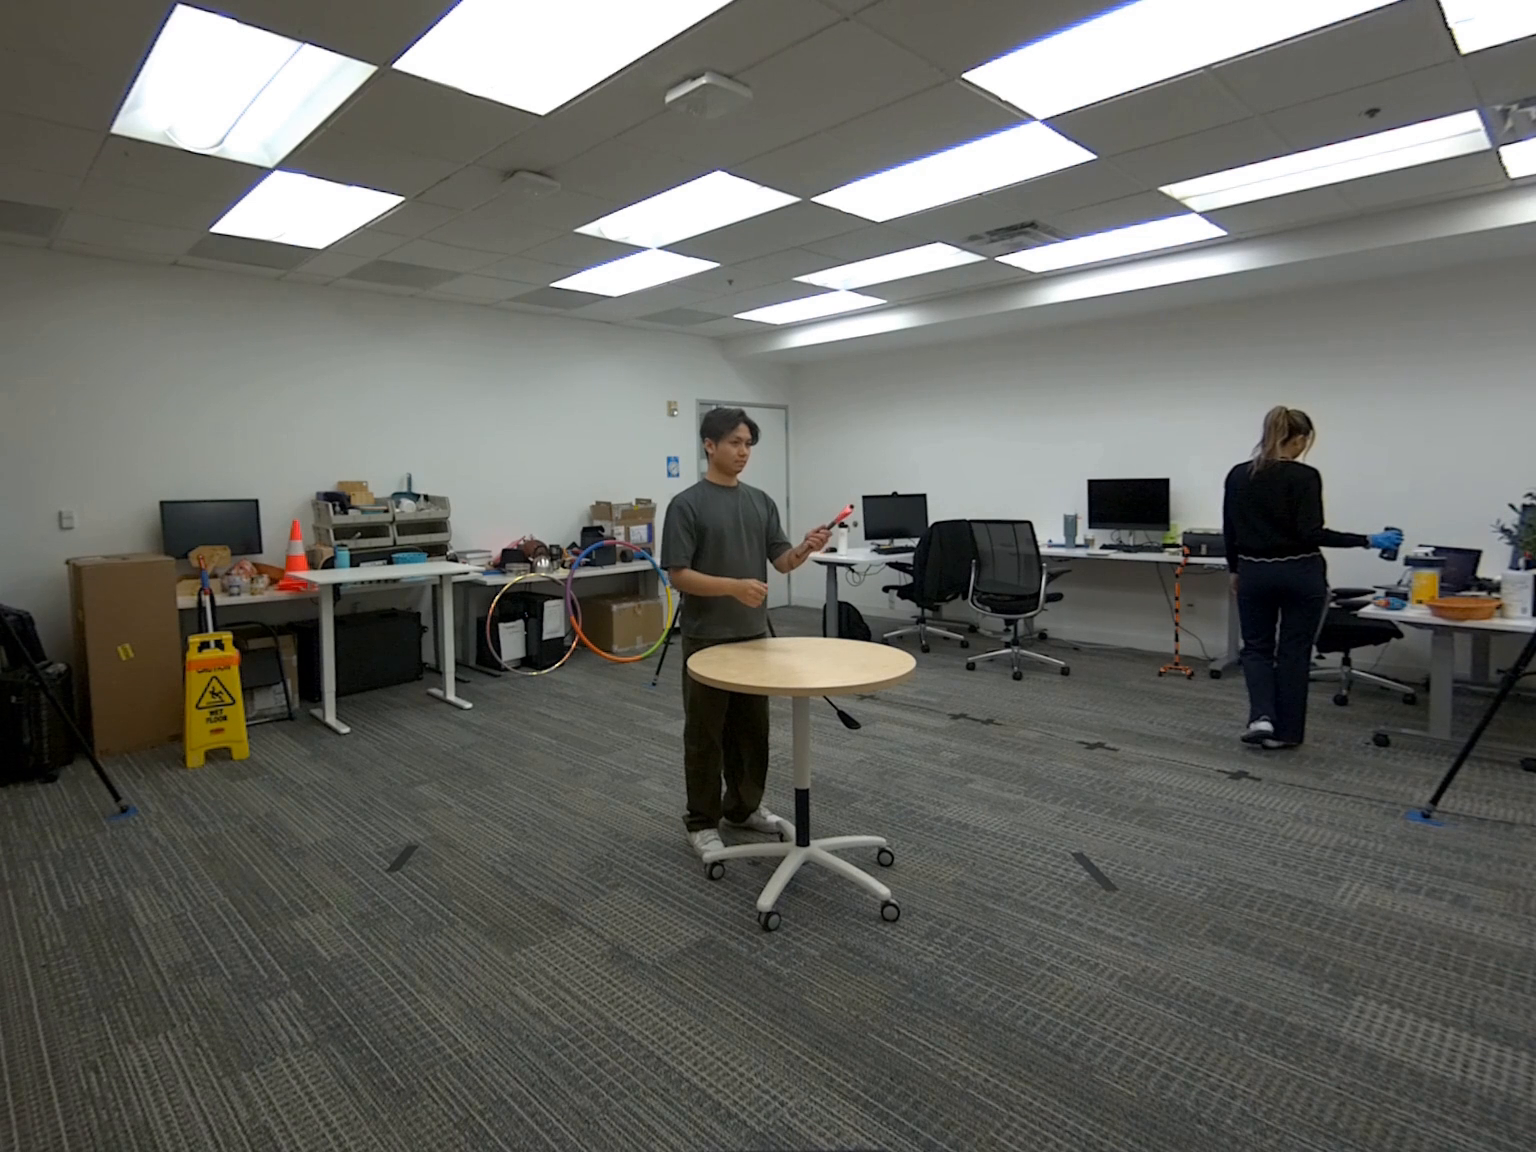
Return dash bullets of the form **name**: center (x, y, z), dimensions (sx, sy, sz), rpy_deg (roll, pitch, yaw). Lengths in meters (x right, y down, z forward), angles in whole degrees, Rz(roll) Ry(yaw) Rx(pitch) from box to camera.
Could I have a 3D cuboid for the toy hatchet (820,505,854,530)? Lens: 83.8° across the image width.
- **toy hatchet**: center (0.194, -0.163, 3.013), dimensions (0.270, 0.029, 0.131), rpy_deg (-41, 1, -1)
